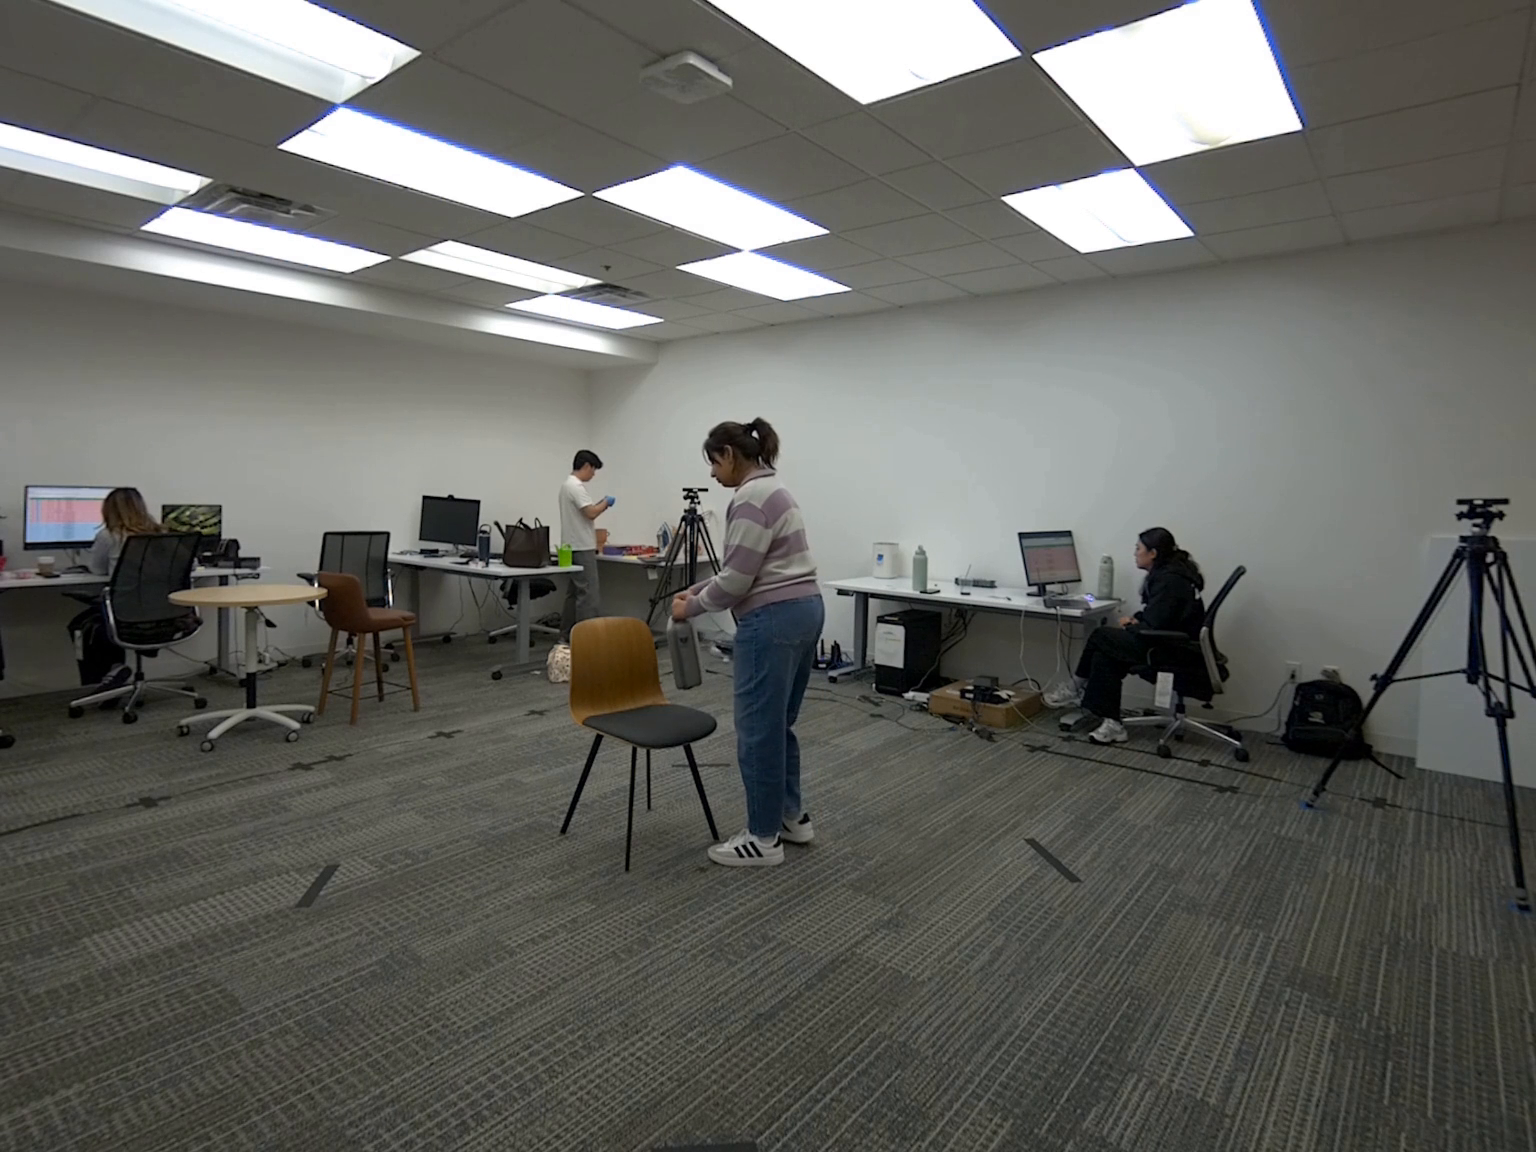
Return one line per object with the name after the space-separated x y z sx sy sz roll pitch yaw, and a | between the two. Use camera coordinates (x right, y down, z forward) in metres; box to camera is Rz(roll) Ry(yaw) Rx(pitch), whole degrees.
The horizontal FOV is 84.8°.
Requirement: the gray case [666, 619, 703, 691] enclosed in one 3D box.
-0.335 0.282 3.324 0.104 0.258 0.259 -9 8 0 | gray case
